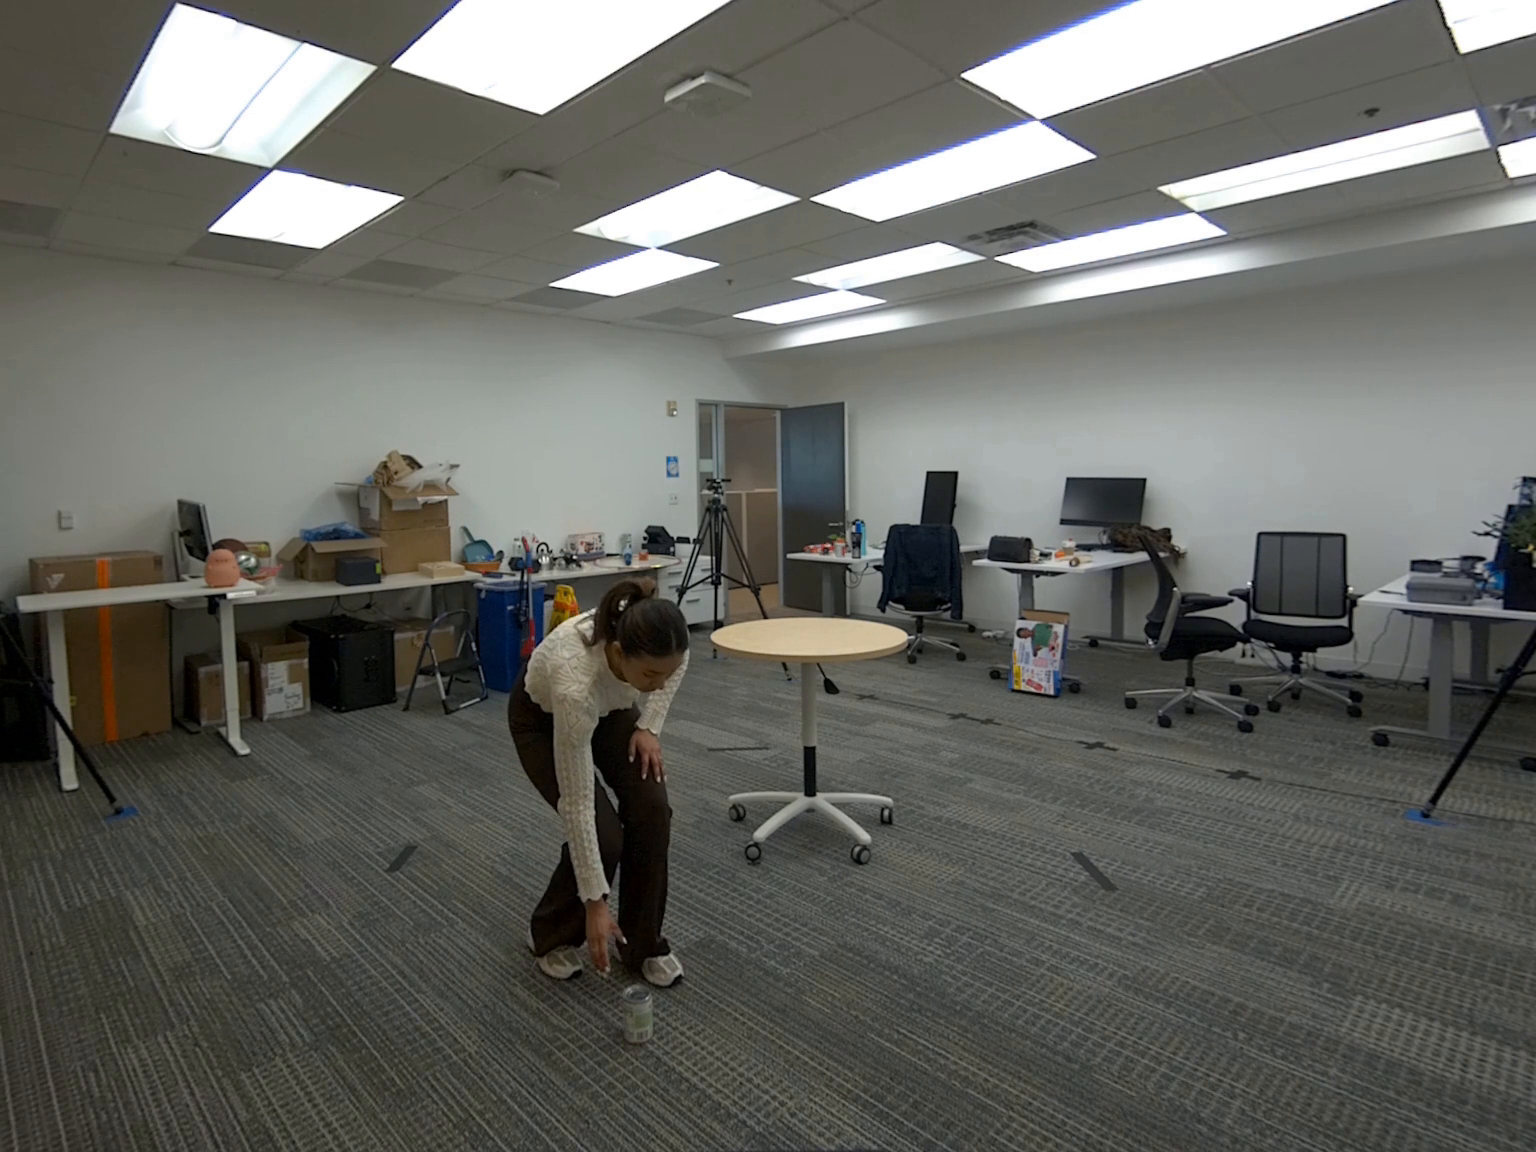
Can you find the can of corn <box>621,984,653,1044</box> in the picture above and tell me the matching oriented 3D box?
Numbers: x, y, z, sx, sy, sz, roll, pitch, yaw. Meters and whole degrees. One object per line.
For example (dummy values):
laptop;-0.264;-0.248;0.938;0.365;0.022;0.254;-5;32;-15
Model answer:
can of corn;-0.330;1.110;2.155;0.074;0.110;0.074;-3;4;-1
